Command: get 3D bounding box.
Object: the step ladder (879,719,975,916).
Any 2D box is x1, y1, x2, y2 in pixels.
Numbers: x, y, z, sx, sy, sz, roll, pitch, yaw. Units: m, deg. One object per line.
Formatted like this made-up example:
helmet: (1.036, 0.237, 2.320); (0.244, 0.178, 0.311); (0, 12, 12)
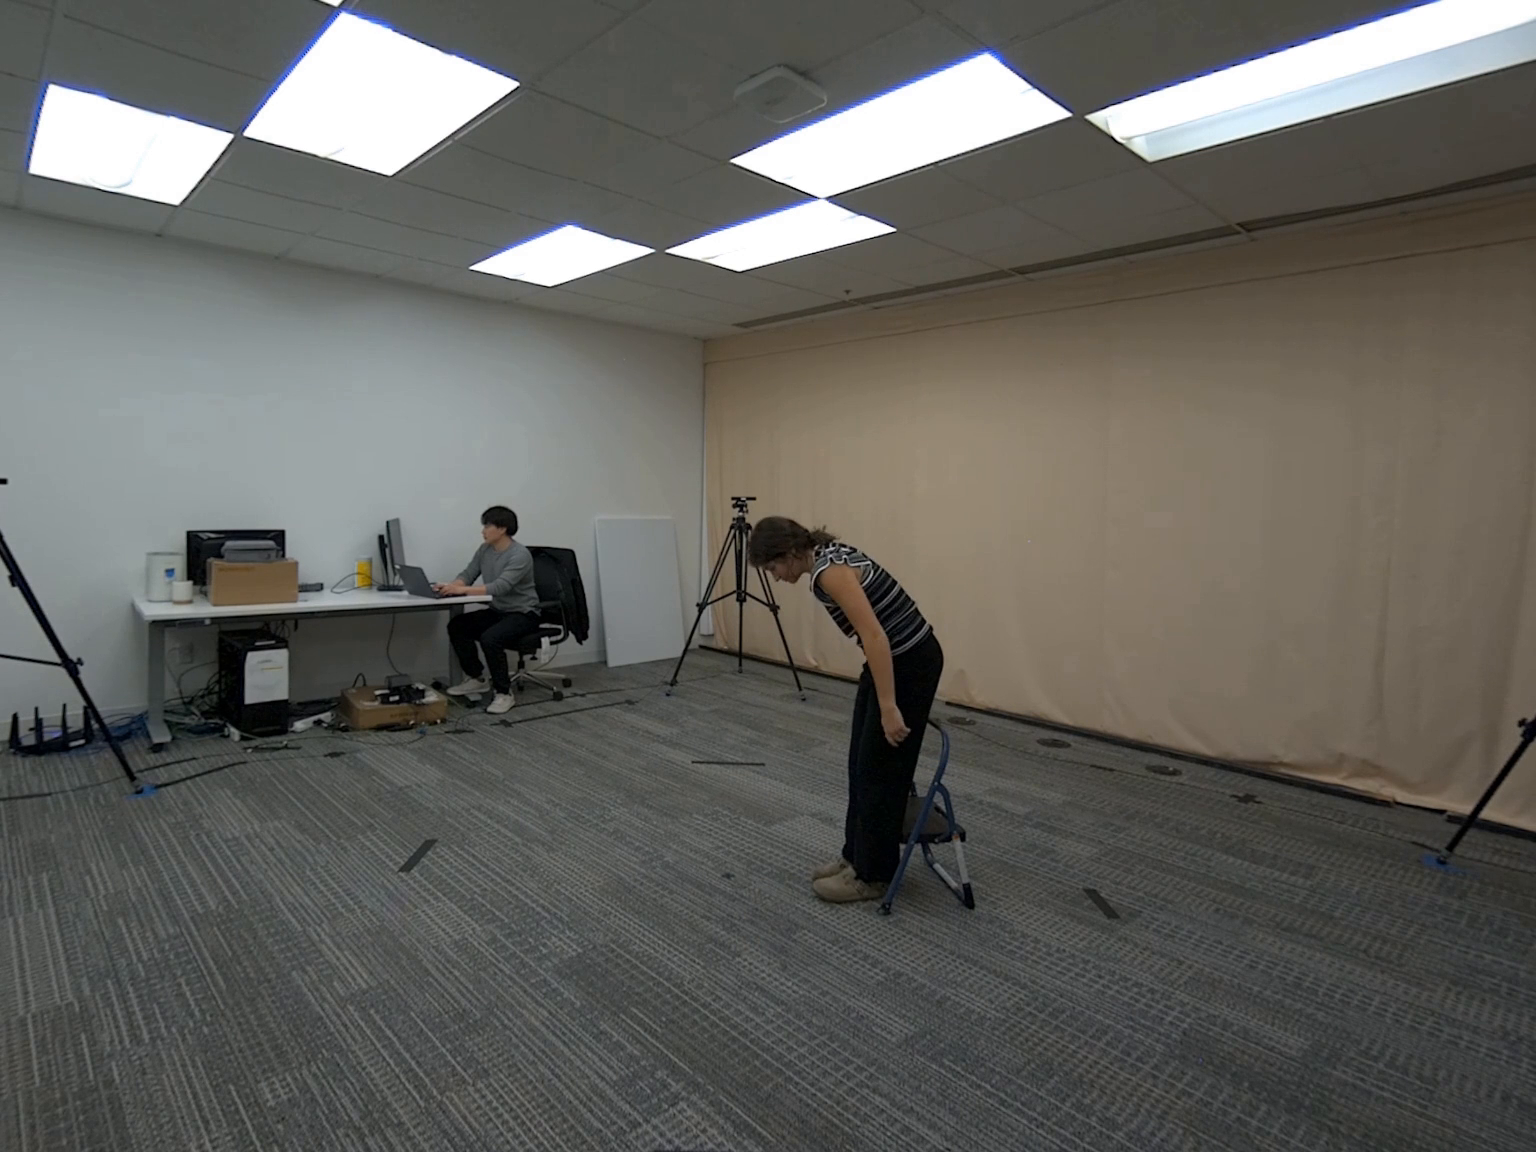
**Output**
step ladder: (0.512, 0.830, 3.053); (0.346, 0.604, 0.435); (0, 4, -10)
